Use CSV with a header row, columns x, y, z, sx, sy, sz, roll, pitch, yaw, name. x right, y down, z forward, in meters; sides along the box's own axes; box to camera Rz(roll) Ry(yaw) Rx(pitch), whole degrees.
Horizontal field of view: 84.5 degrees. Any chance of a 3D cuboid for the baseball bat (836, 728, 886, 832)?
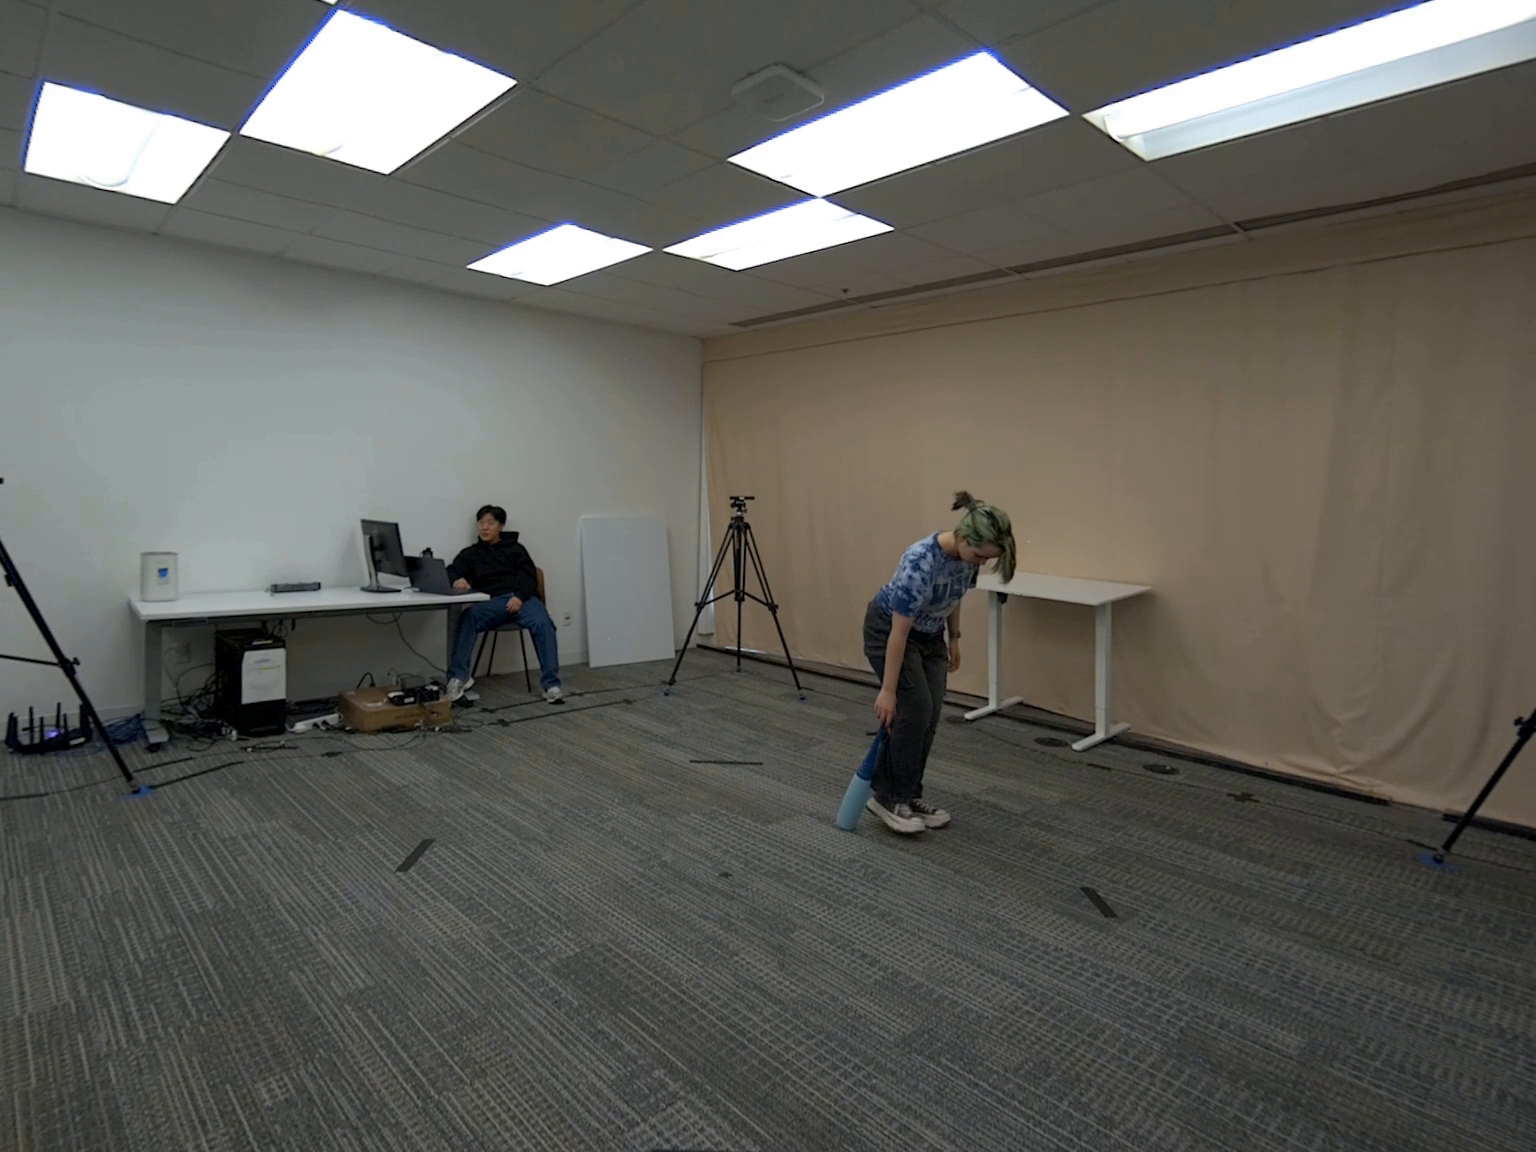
x,y,z,sx,sy,sz,roll,pitch,yaw,name
0.402,0.820,3.515,0.088,0.539,0.090,16,15,-6,baseball bat
